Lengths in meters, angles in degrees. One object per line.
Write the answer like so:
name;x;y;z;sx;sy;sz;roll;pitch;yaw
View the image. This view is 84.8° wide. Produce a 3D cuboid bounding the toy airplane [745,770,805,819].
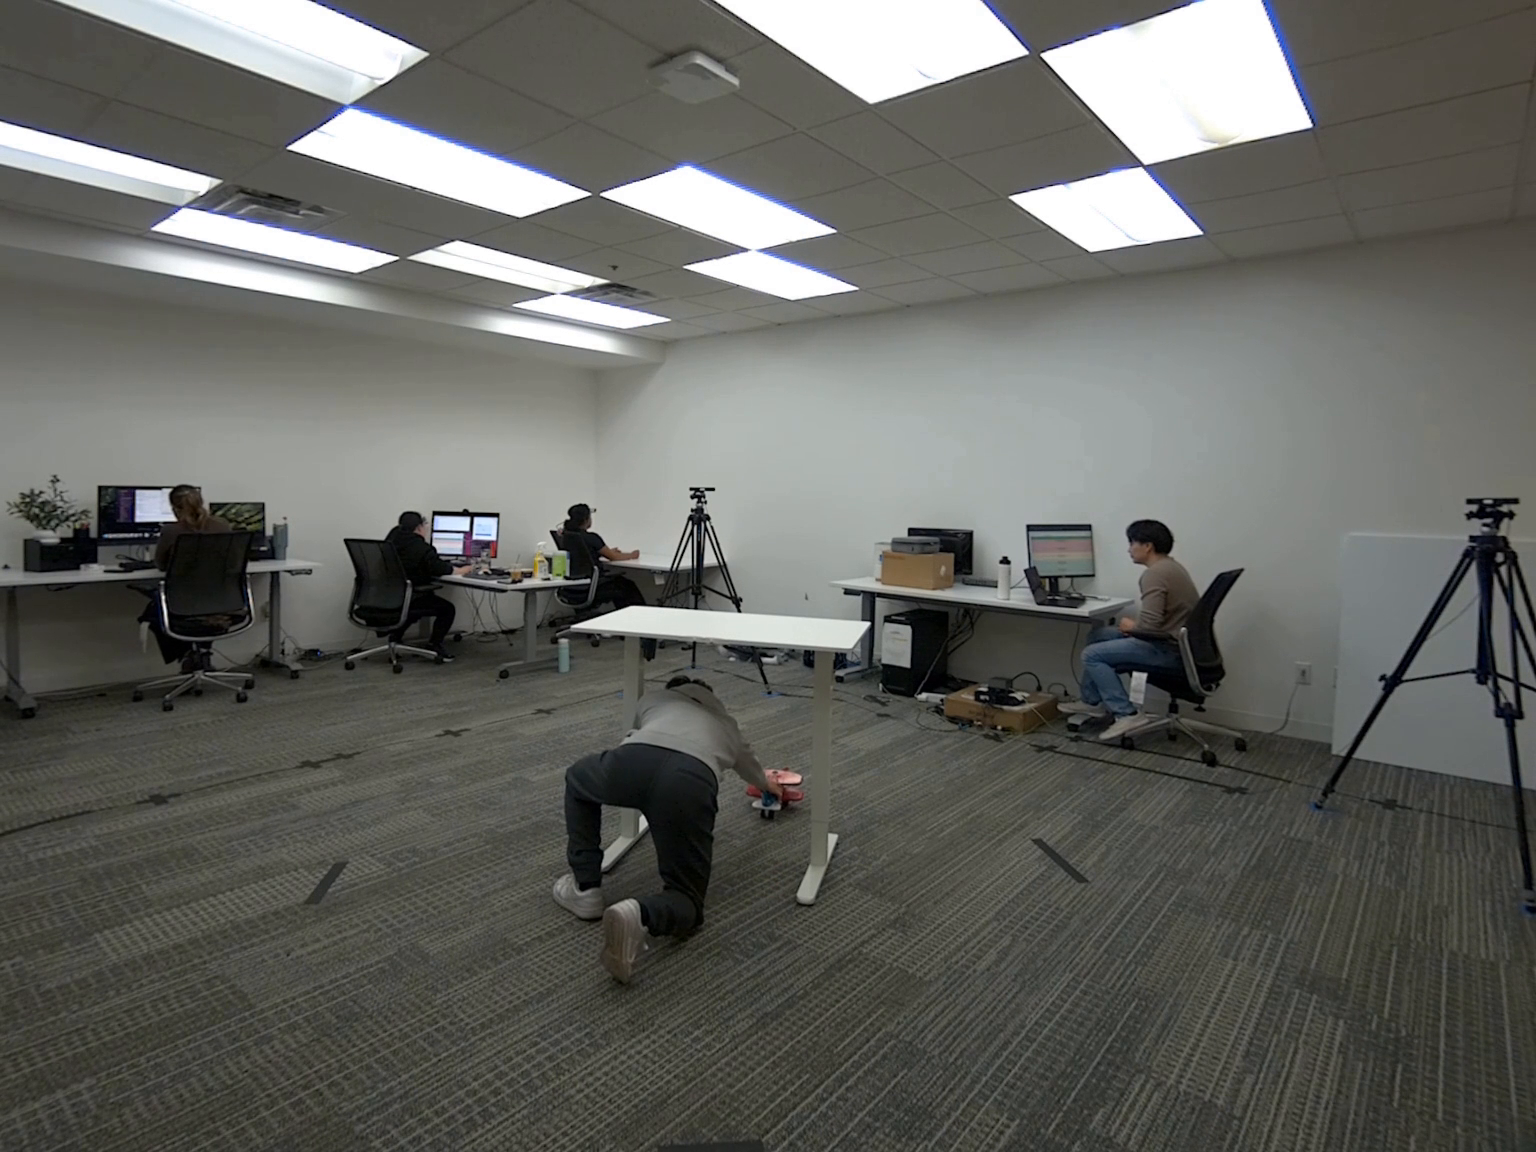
toy airplane;0.027;0.941;3.695;0.248;0.156;0.264;-1;5;-14
